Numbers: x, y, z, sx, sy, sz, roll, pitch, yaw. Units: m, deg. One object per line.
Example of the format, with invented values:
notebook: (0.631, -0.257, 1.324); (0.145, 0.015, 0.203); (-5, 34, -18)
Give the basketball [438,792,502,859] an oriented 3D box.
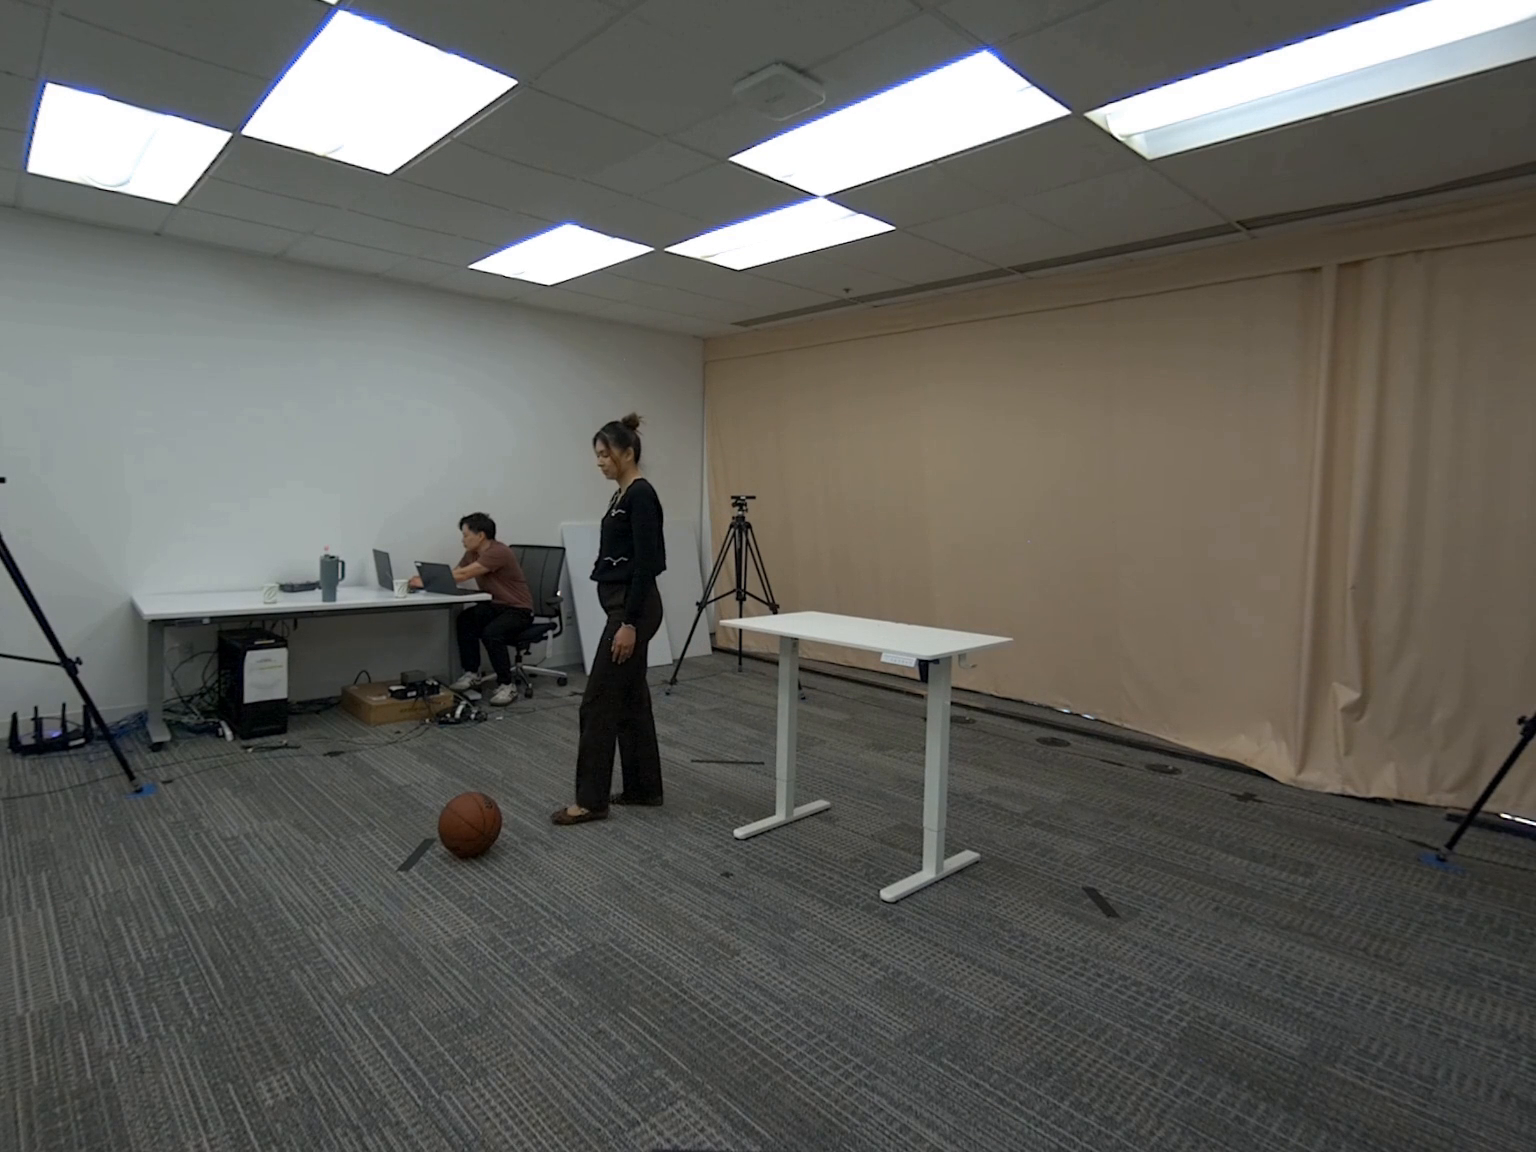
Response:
basketball: (-1.155, 0.954, 3.232); (0.236, 0.235, 0.237); (1, 4, -1)
